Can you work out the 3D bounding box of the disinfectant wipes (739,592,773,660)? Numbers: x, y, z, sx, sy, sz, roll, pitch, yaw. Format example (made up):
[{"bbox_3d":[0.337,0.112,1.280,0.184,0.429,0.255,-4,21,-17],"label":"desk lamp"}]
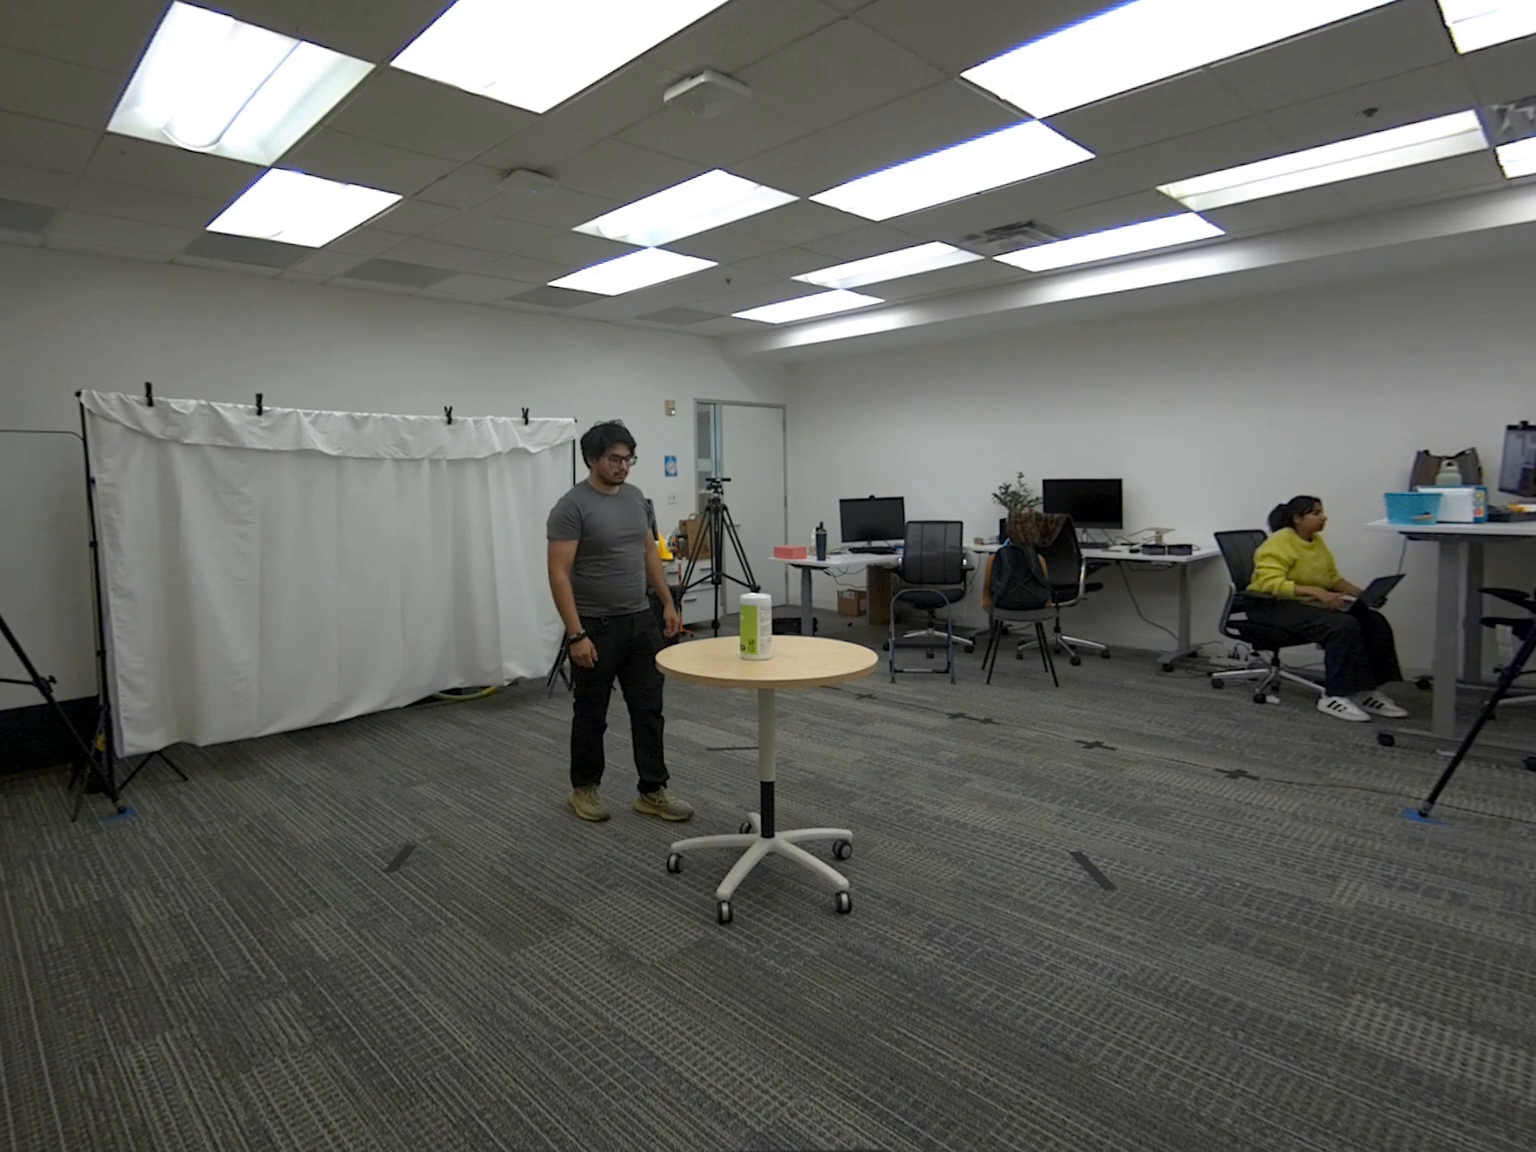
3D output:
[{"bbox_3d":[-0.036,0.172,2.918,0.118,0.217,0.118,-1,3,-2],"label":"disinfectant wipes"}]
